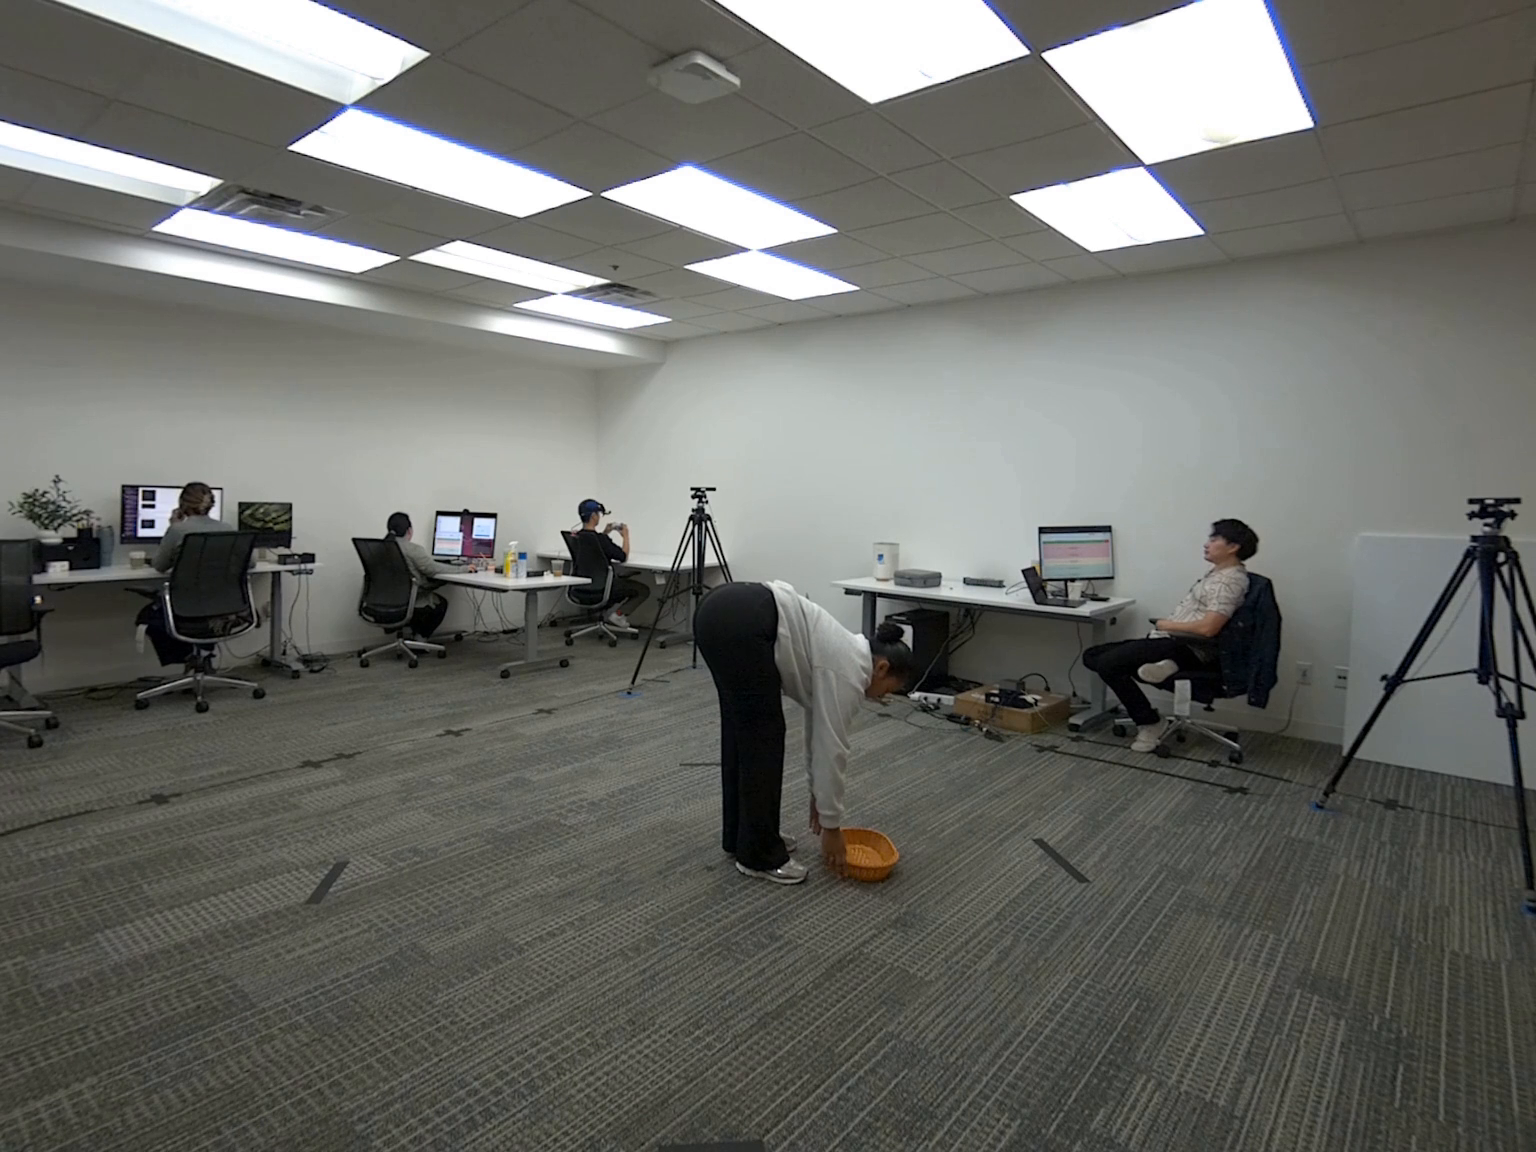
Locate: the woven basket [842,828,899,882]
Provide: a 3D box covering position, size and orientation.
[{"bbox_3d":[0.340,1.035,3.167,0.251,0.073,0.354,0,6,-6],"label":"woven basket"}]
